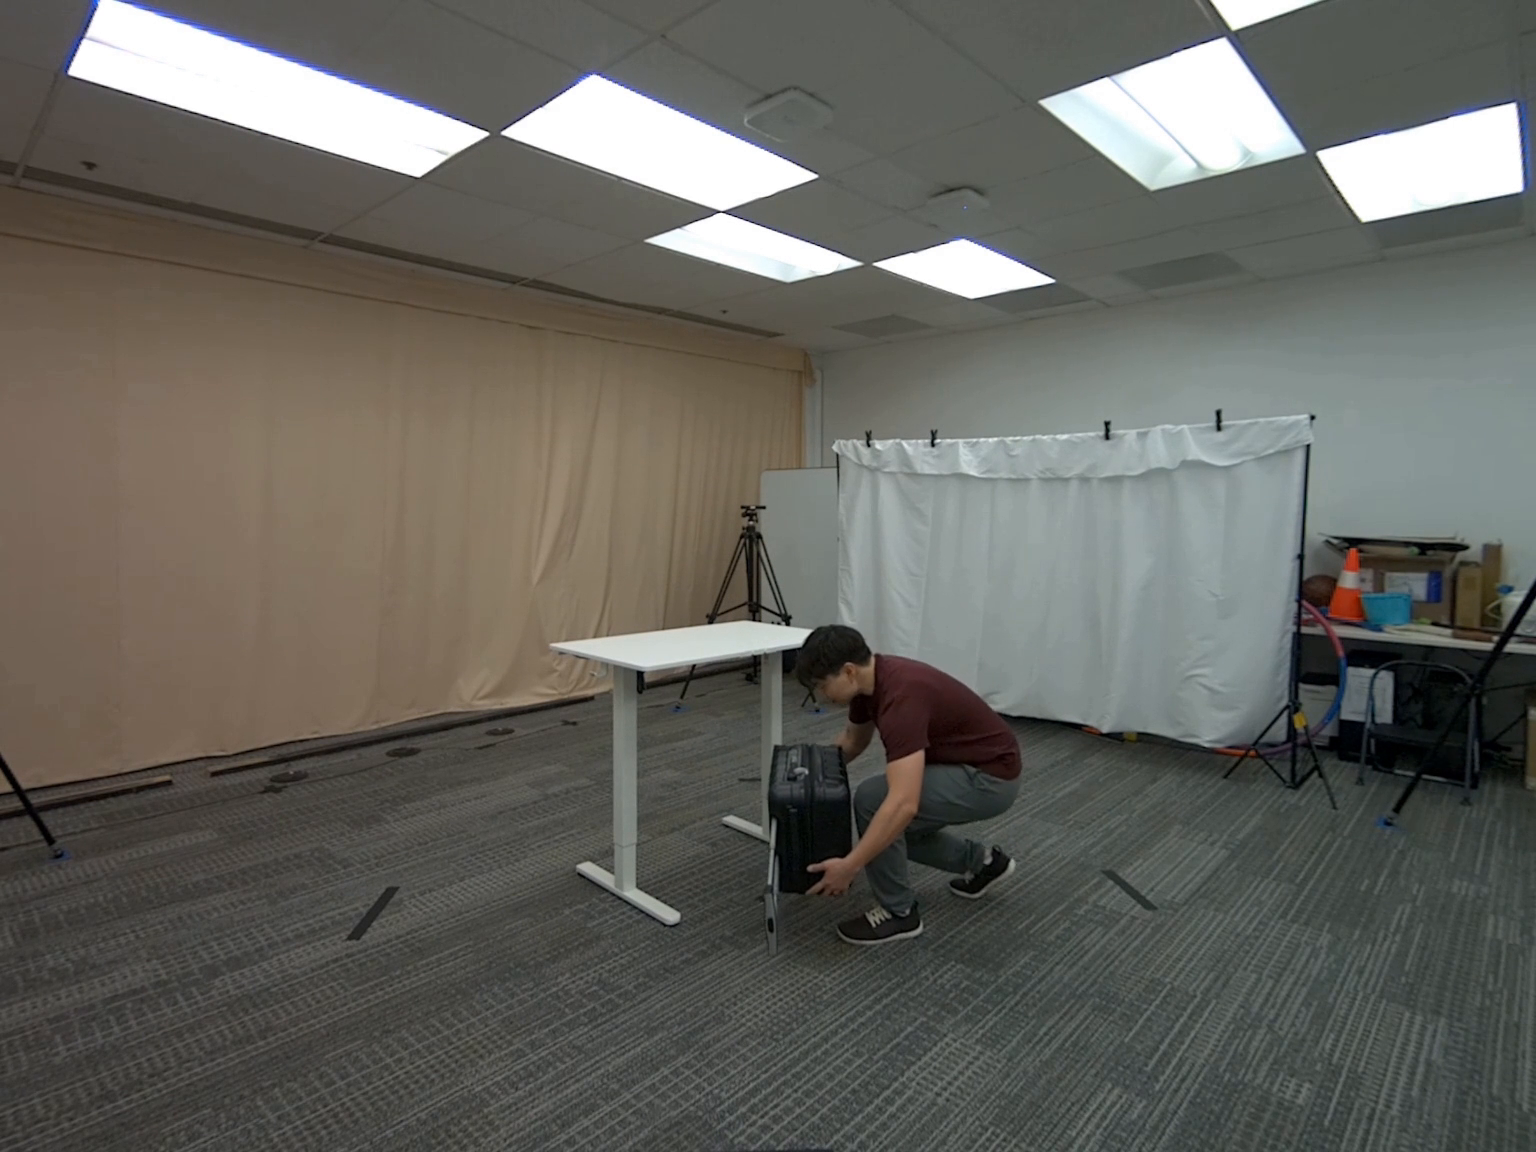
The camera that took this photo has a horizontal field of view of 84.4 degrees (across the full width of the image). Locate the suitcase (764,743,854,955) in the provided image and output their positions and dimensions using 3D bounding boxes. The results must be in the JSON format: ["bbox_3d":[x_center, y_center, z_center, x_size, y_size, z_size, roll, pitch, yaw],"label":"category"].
[{"bbox_3d":[0.134,0.788,2.548,0.258,0.383,0.976,2,4,2],"label":"suitcase"}]
